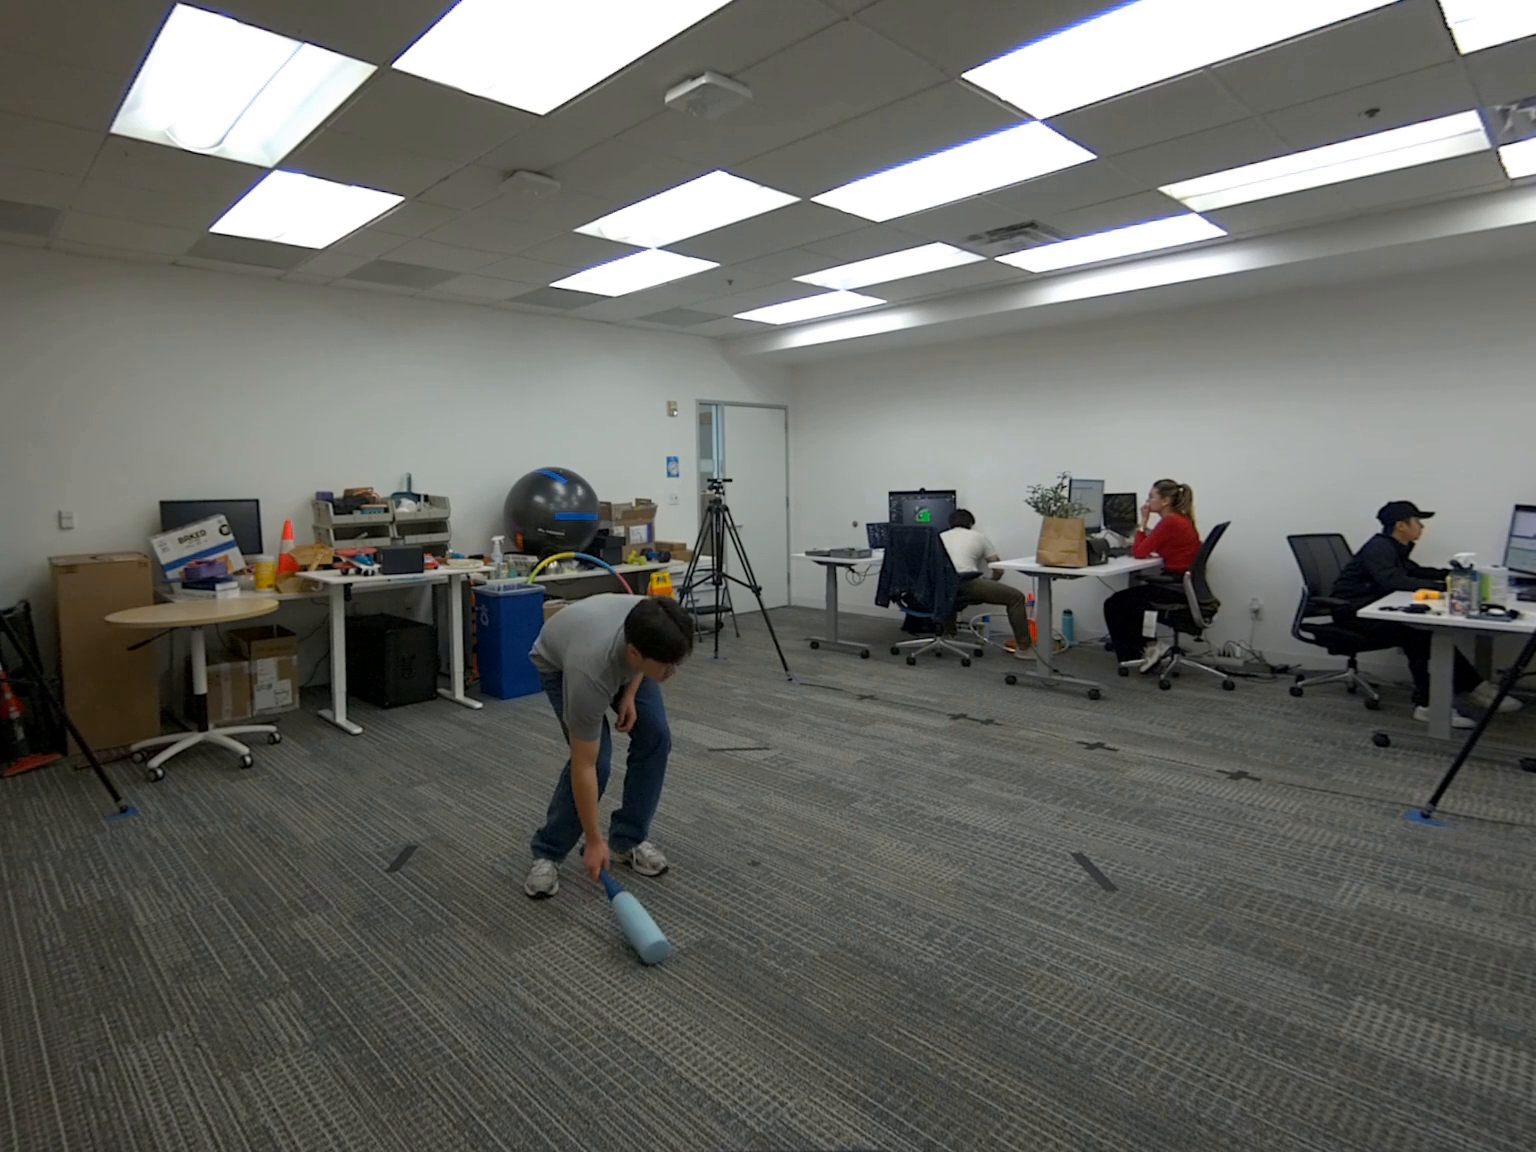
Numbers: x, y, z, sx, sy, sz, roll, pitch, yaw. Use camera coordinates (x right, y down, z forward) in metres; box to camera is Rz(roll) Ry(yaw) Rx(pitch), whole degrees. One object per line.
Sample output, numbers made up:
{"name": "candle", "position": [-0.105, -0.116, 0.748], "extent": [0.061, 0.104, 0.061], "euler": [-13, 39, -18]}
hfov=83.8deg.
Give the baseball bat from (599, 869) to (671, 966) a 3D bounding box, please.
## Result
{"name": "baseball bat", "position": [-0.467, 0.978, 2.679], "extent": [0.087, 0.088, 0.562], "euler": [-4, 17, -33]}
